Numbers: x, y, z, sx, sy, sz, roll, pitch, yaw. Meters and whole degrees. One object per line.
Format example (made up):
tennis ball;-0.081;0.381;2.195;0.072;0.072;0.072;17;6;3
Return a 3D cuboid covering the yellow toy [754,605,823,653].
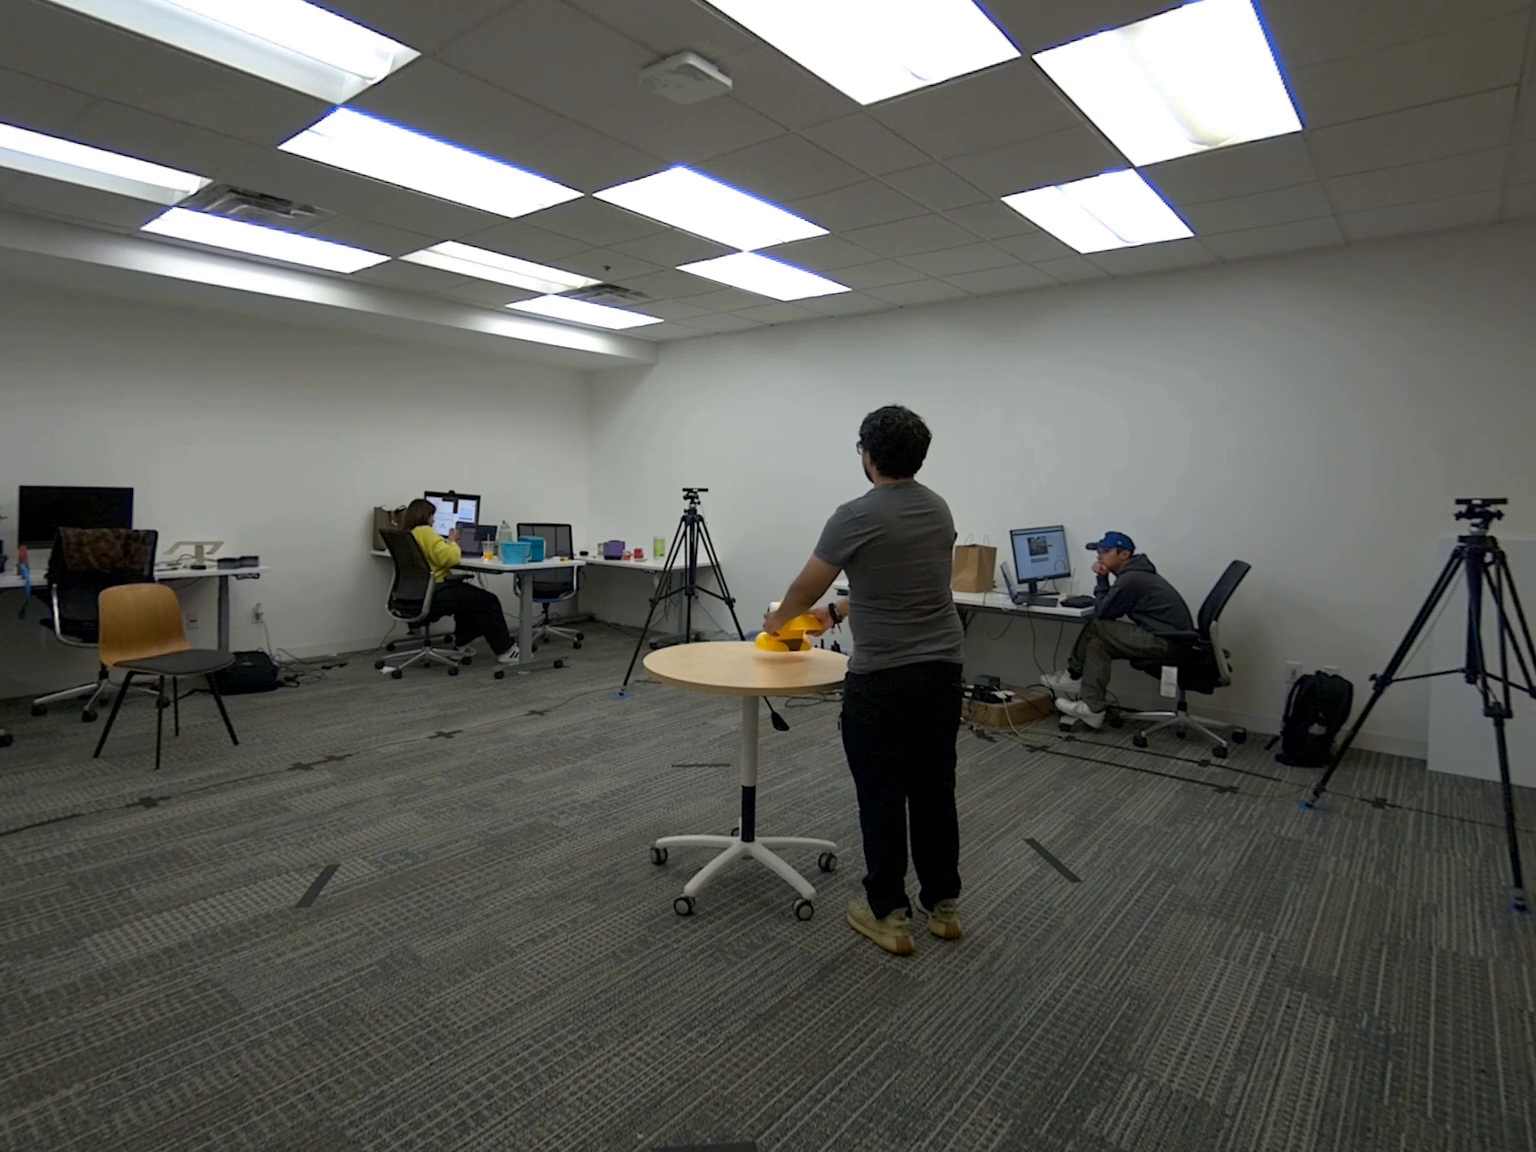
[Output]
yellow toy;0.054;0.143;3.061;0.199;0.230;0.199;1;2;-30
